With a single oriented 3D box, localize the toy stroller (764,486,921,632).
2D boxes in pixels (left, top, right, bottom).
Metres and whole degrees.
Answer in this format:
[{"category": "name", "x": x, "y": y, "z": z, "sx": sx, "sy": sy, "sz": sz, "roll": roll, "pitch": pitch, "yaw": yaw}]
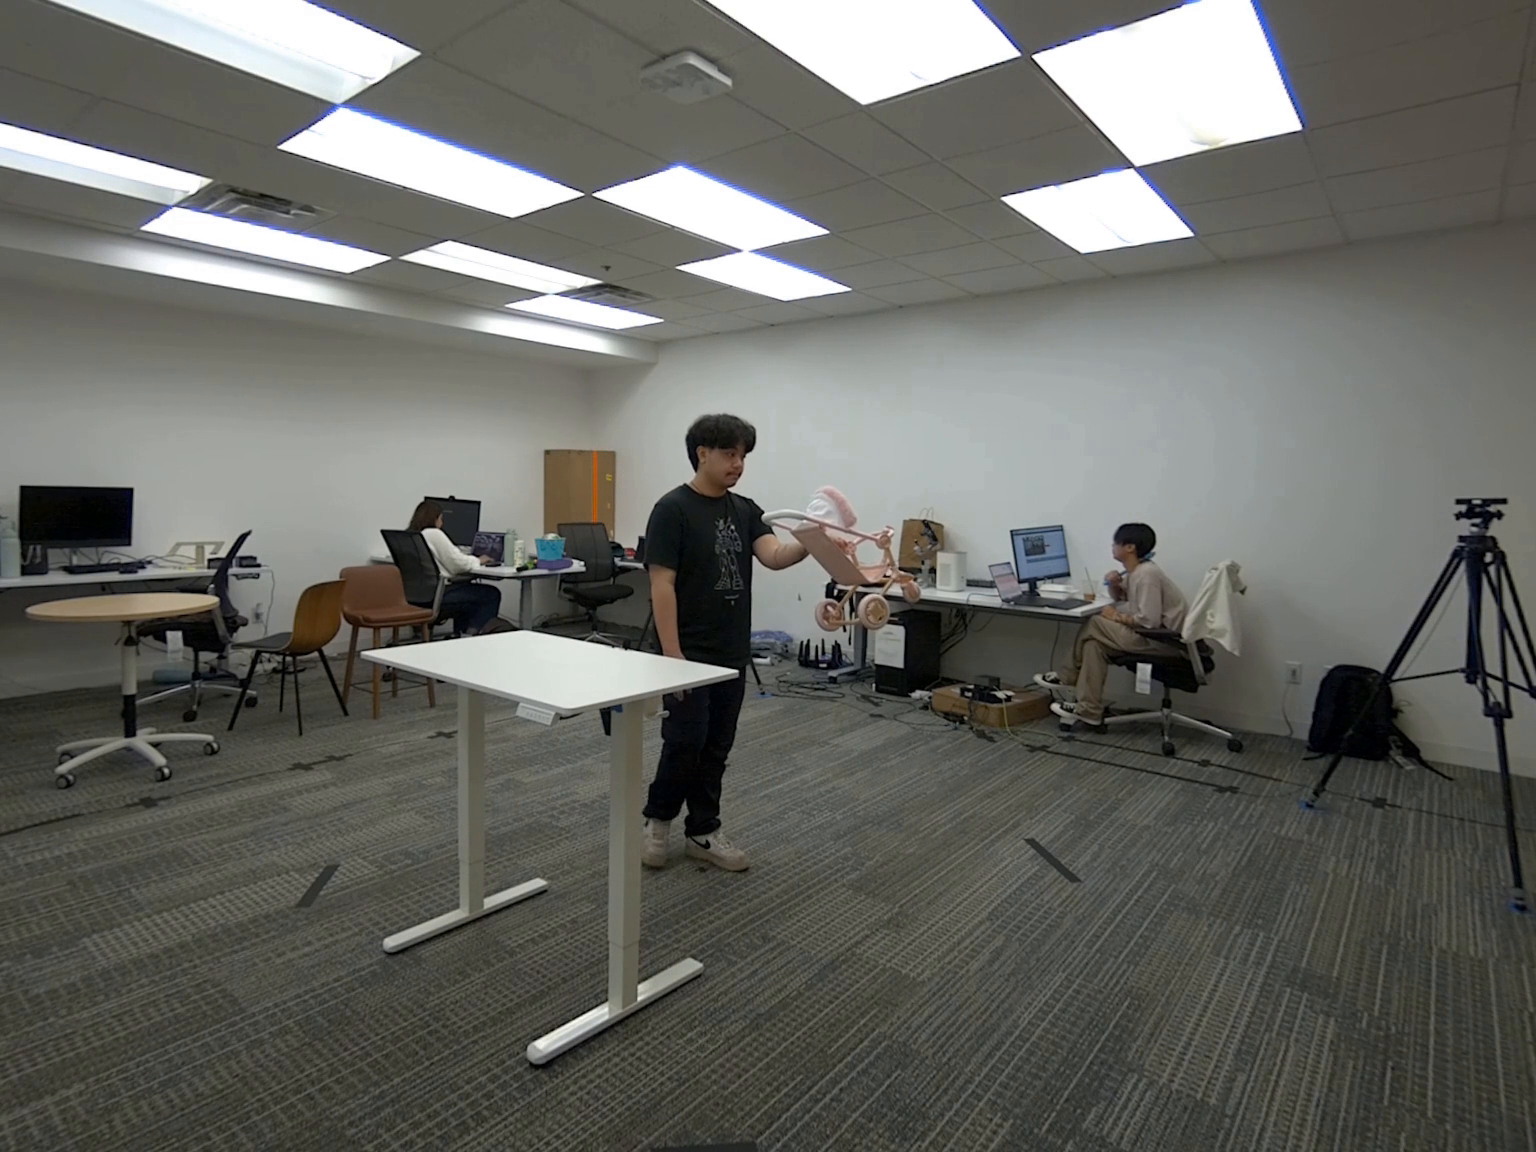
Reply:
[{"category": "toy stroller", "x": 0.260, "y": -0.066, "z": 2.753, "sx": 0.339, "sy": 0.529, "sz": 0.286, "roll": -34, "pitch": 9, "yaw": -21}]
